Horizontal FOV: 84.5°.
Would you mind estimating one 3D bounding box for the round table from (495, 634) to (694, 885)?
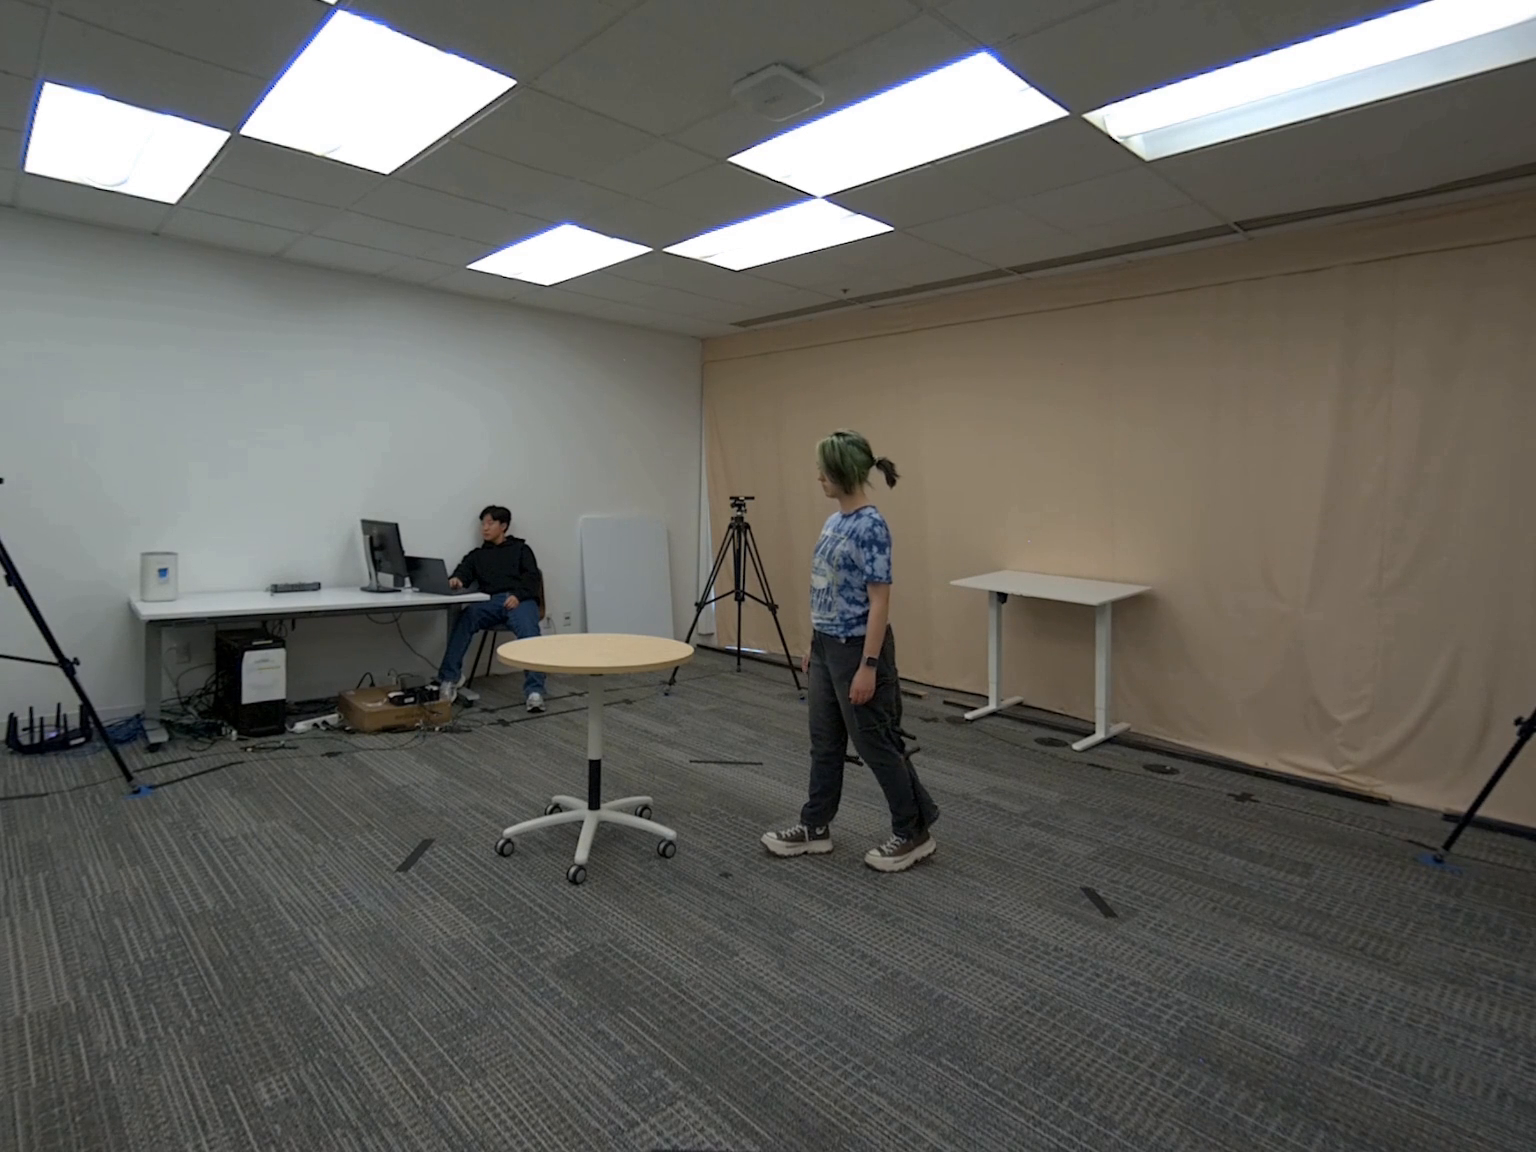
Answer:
[{"bbox_3d":[-0.679,0.673,3.351,0.784,0.784,0.788,2,4,-1],"label":"round table"}]
